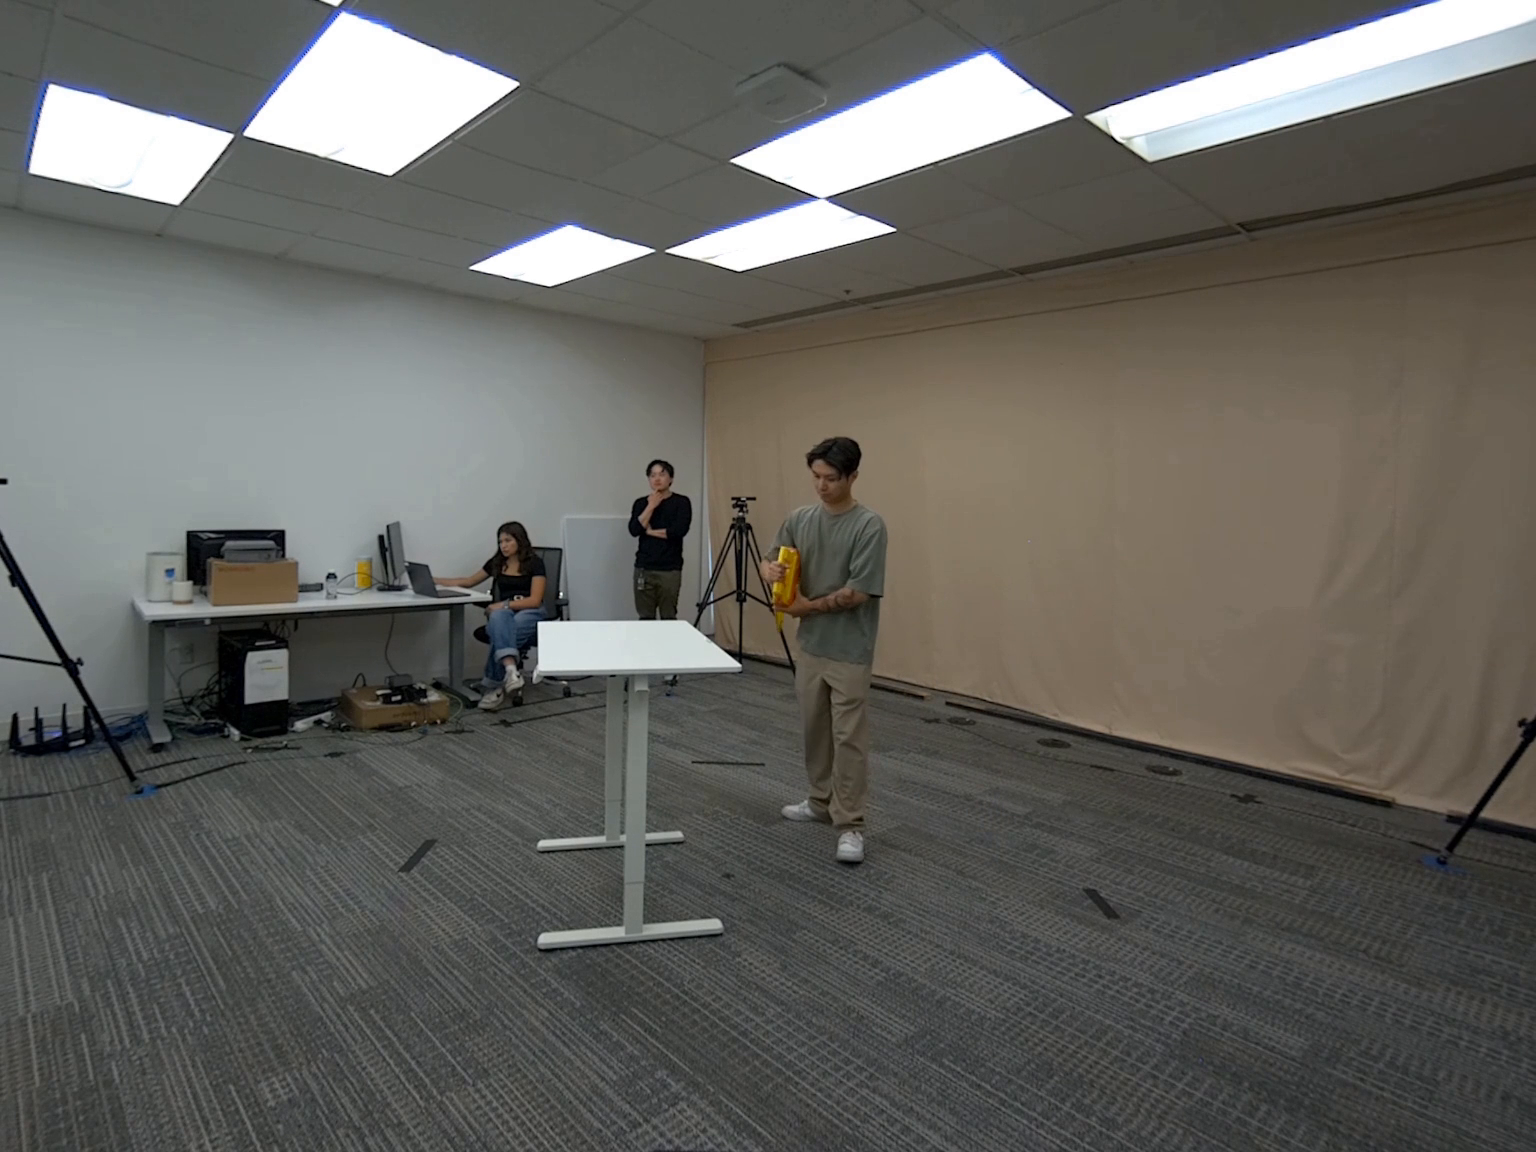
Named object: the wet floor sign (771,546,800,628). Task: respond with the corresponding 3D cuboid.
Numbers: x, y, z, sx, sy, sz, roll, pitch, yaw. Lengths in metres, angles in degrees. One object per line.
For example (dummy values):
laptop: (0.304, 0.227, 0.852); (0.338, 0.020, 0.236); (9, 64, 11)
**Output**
wet floor sign: (0.108, 0.071, 3.654); (0.294, 0.284, 0.630); (6, -14, 18)
